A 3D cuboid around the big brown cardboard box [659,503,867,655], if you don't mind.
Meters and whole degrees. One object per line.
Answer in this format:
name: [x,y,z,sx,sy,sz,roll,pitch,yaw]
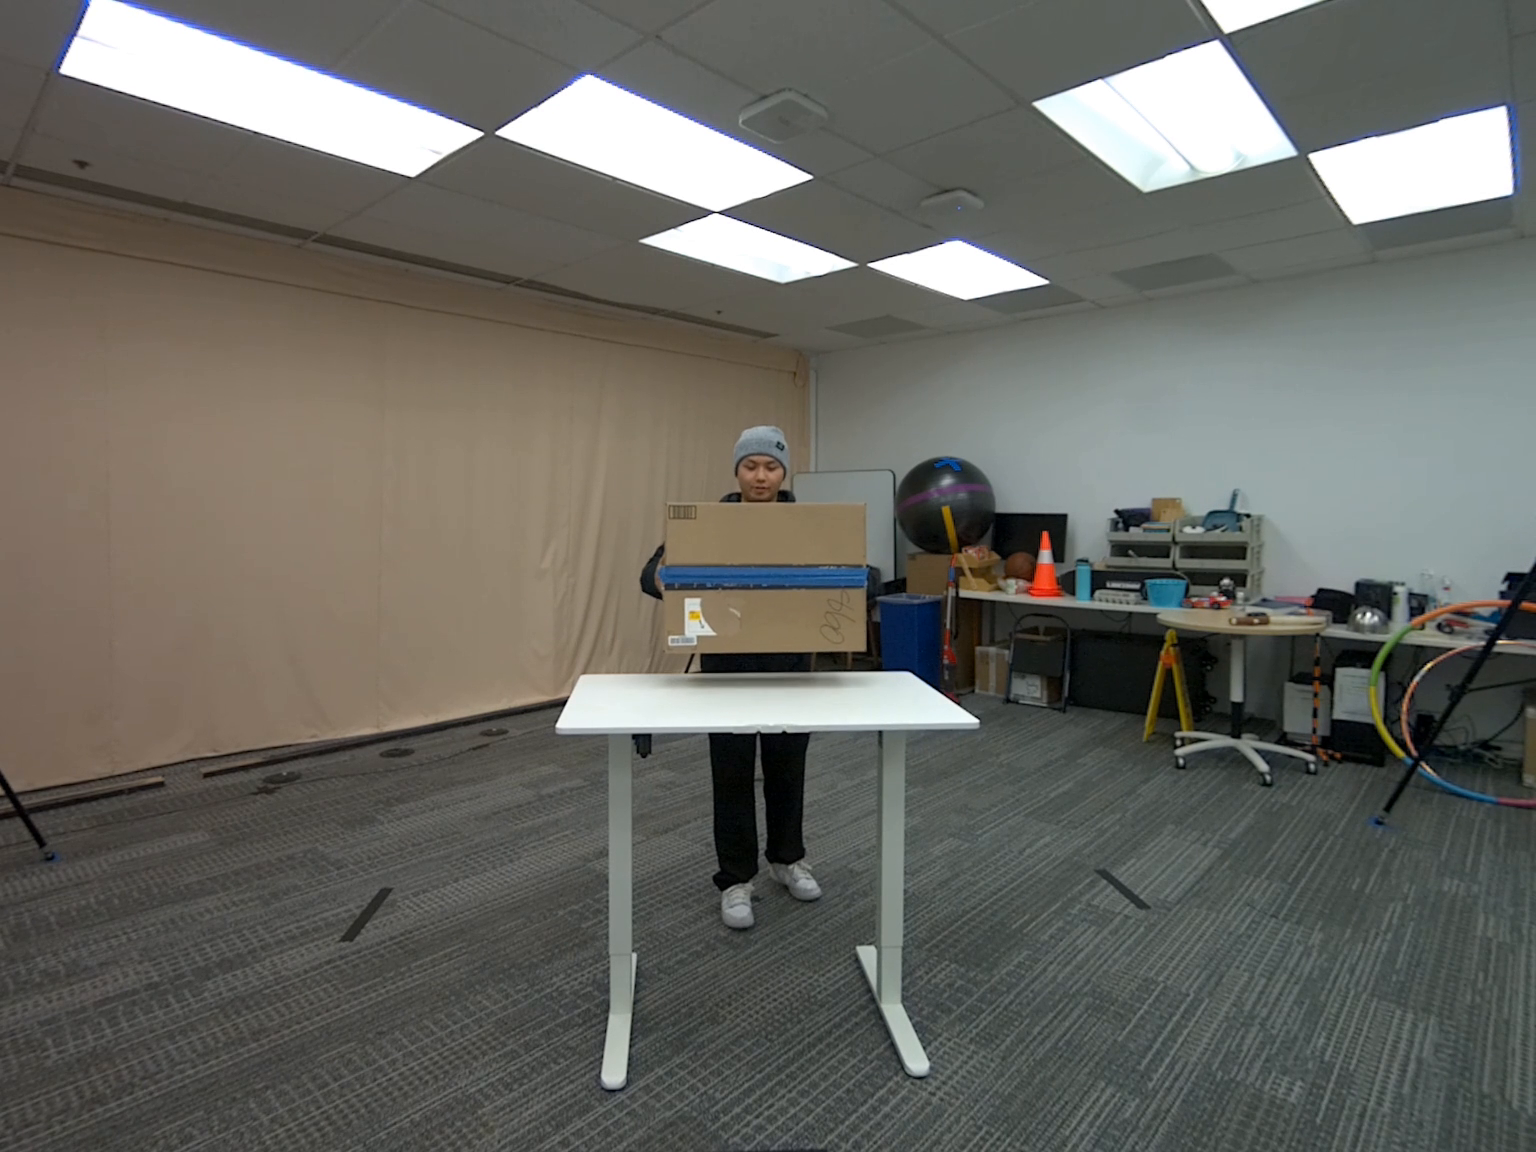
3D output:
big brown cardboard box: [-0.018,0.008,2.446,0.587,0.418,0.233,-1,-3,-2]
